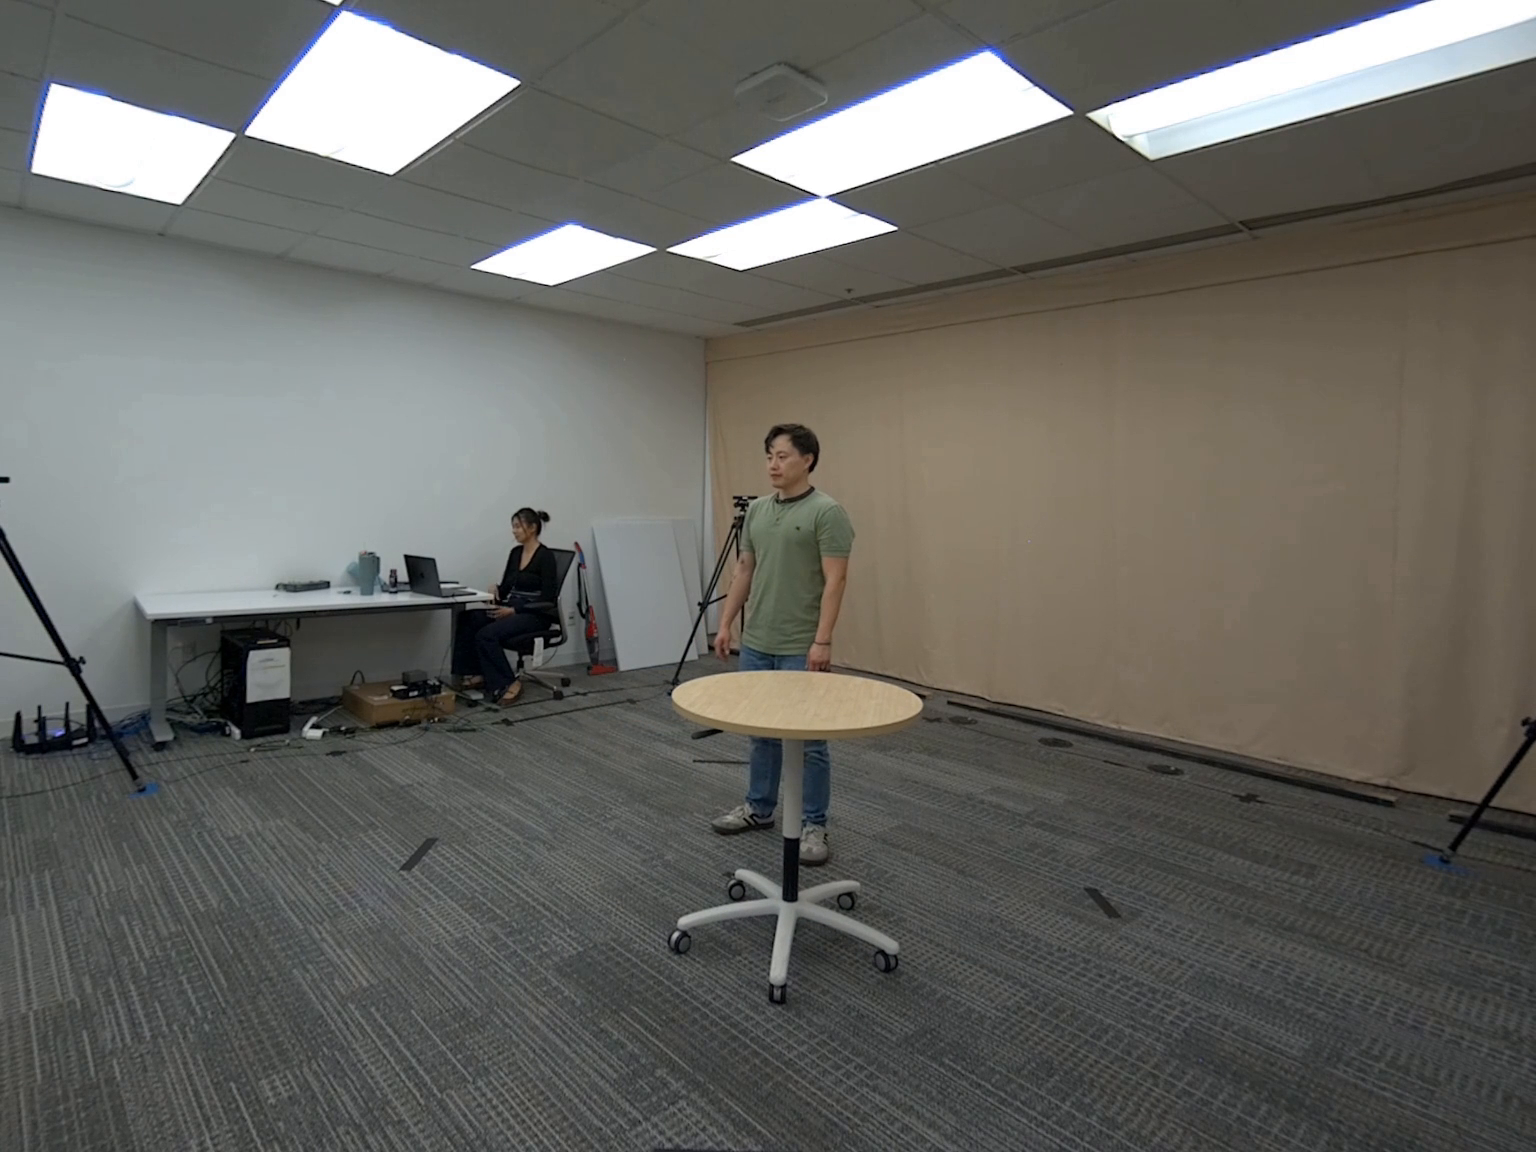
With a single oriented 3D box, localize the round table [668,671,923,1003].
[{"bbox_3d":[0.066,0.765,2.614,0.763,0.792,0.767,1,4,-1],"label":"round table"}]
